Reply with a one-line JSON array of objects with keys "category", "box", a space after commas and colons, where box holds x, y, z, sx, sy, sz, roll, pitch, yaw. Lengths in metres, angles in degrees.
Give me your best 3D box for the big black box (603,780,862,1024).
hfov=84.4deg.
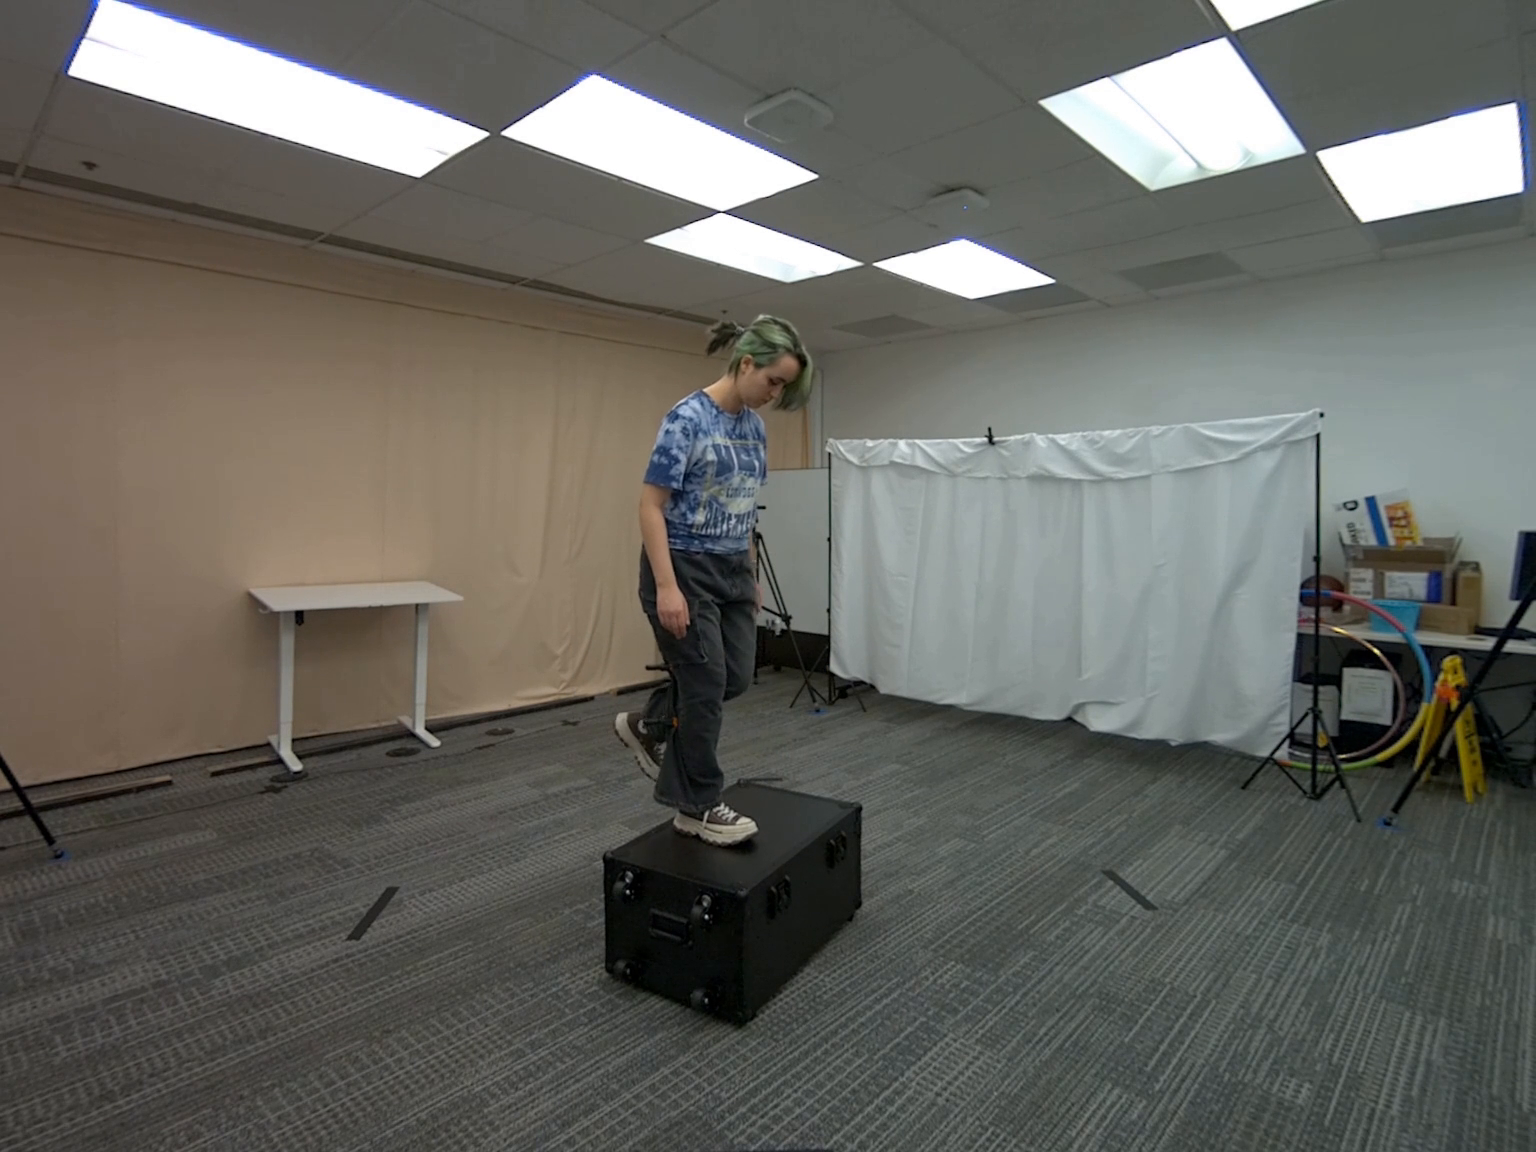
[{"category": "big black box", "box": [-0.097, 0.985, 2.641, 0.537, 0.395, 0.838, 3, 5, 31]}]
